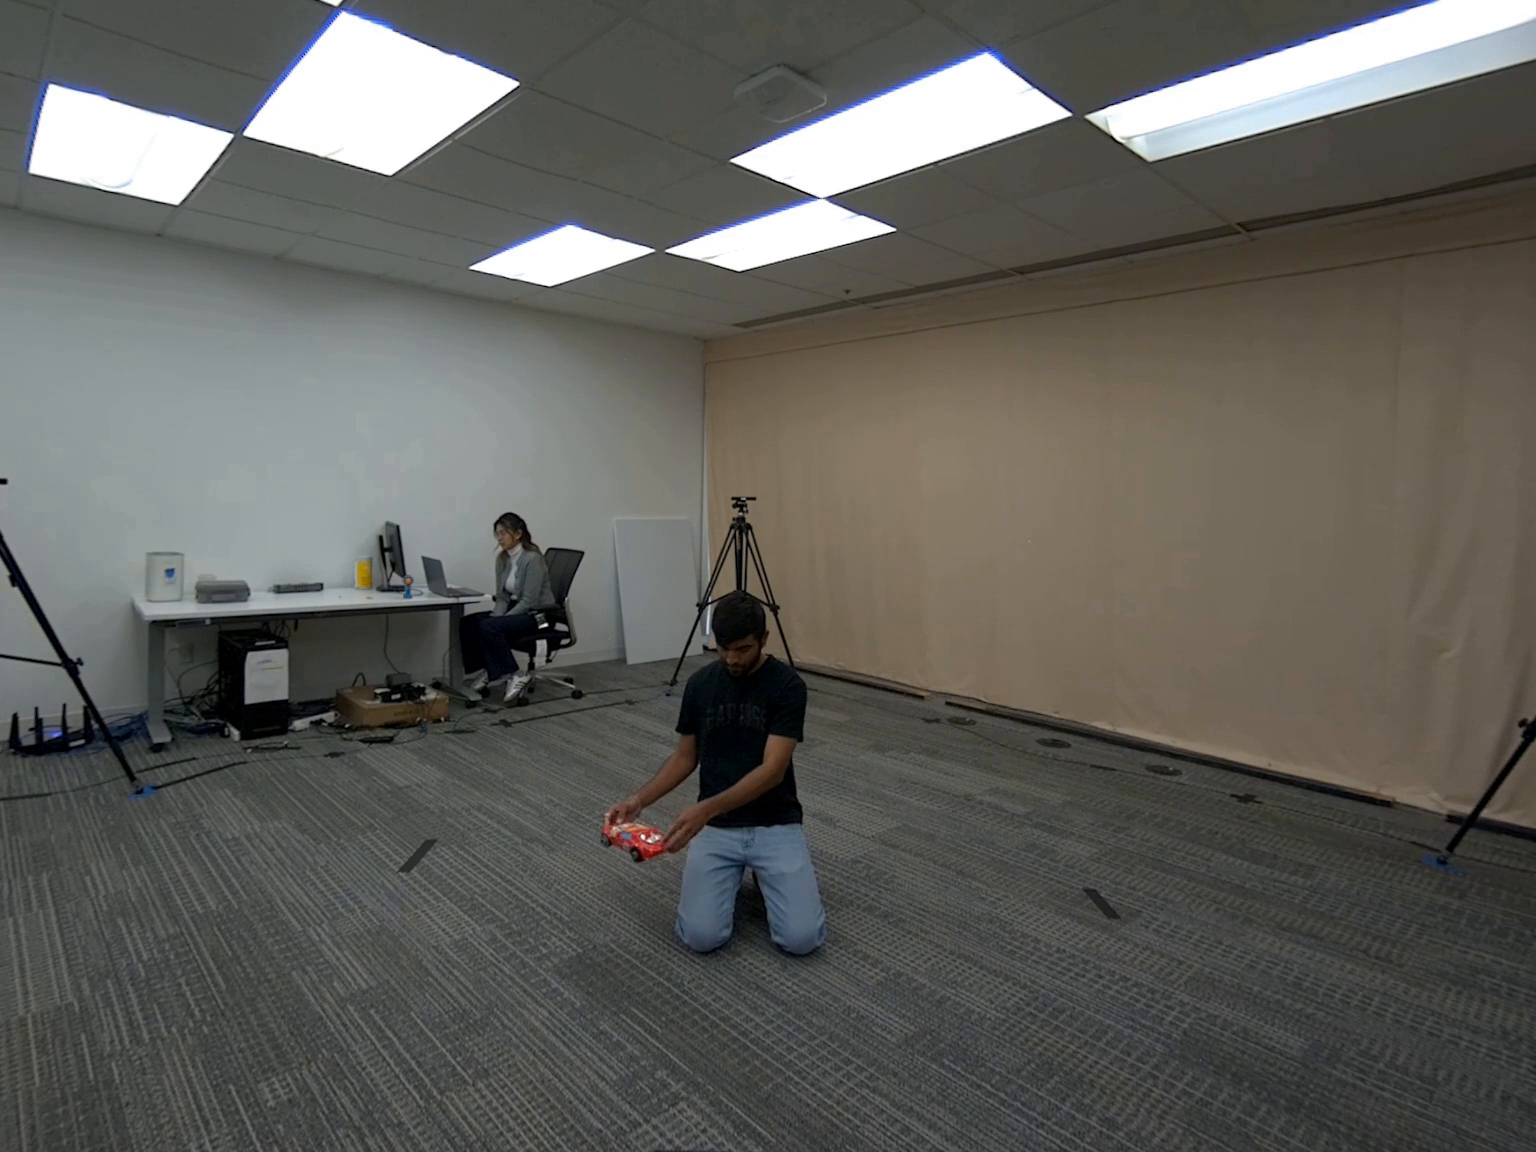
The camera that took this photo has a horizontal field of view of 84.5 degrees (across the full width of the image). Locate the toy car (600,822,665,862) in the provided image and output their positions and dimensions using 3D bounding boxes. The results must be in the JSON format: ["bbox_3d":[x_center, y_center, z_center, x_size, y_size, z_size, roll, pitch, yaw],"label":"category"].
[{"bbox_3d":[-0.405,0.817,2.608,0.260,0.083,0.128,-7,2,41],"label":"toy car"}]
